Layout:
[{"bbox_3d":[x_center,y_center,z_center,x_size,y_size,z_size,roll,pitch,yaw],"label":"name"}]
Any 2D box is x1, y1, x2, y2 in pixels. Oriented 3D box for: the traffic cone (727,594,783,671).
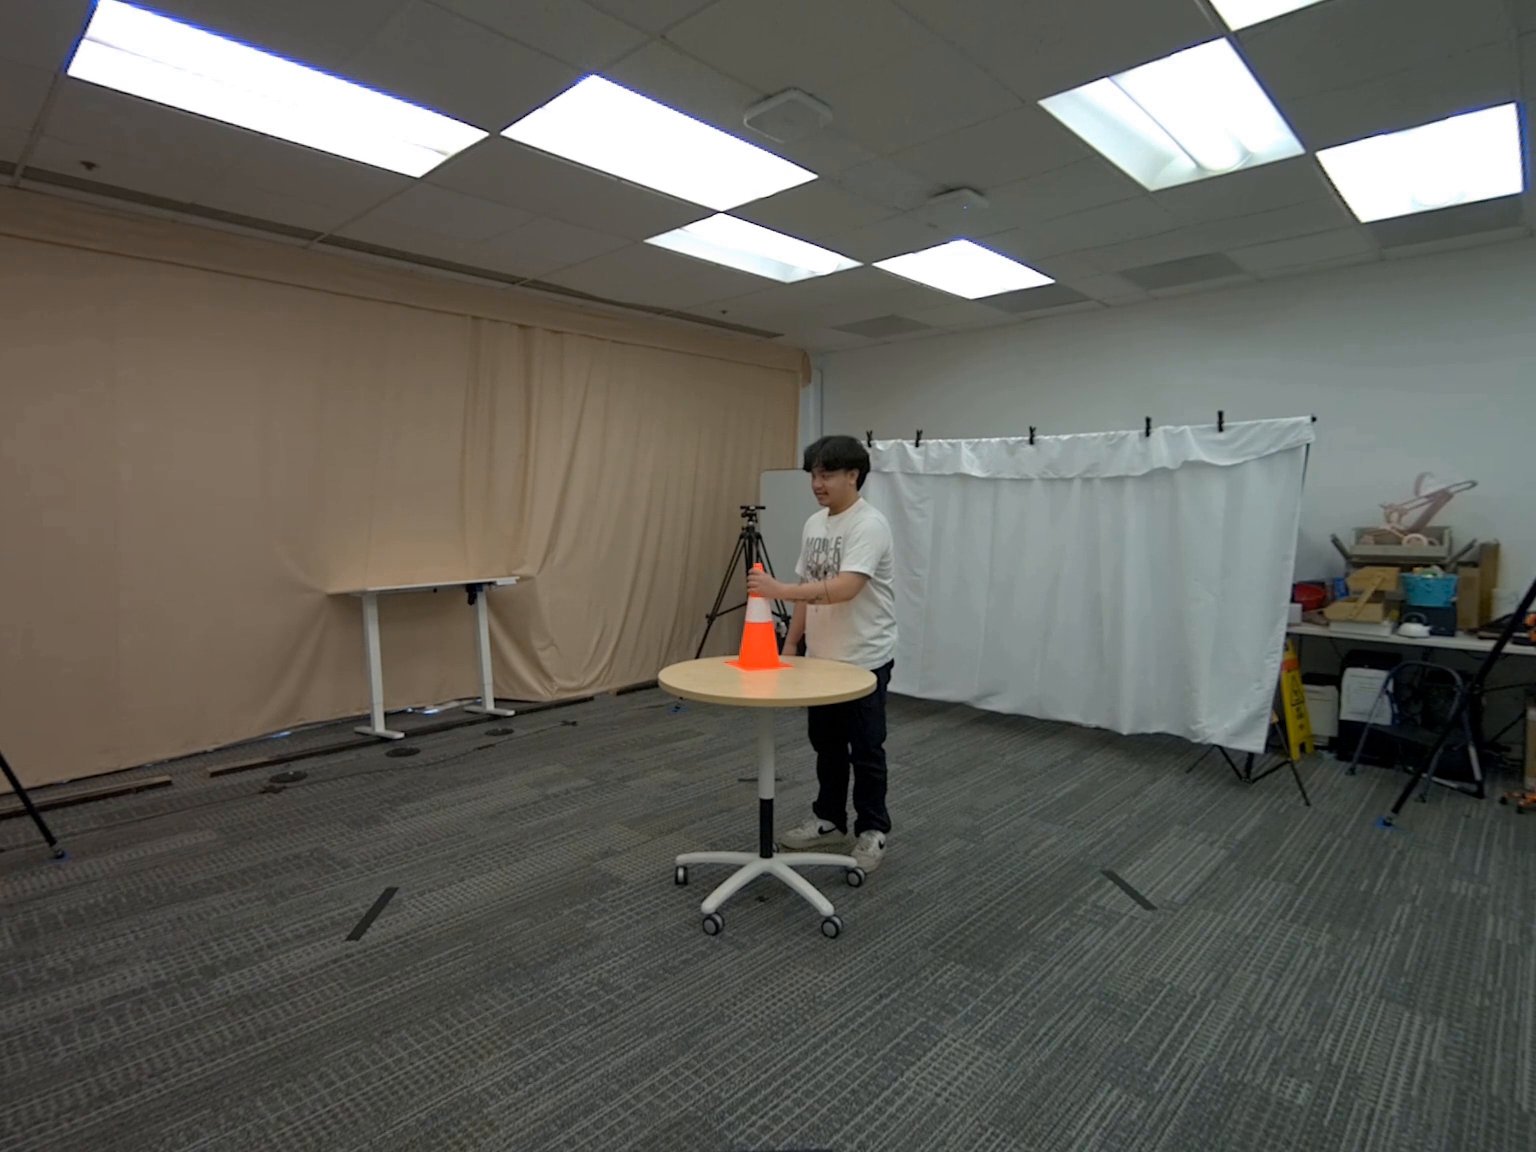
[{"bbox_3d":[-0.030,0.144,3.153,0.197,0.383,0.211,-2,3,-39],"label":"traffic cone"}]
